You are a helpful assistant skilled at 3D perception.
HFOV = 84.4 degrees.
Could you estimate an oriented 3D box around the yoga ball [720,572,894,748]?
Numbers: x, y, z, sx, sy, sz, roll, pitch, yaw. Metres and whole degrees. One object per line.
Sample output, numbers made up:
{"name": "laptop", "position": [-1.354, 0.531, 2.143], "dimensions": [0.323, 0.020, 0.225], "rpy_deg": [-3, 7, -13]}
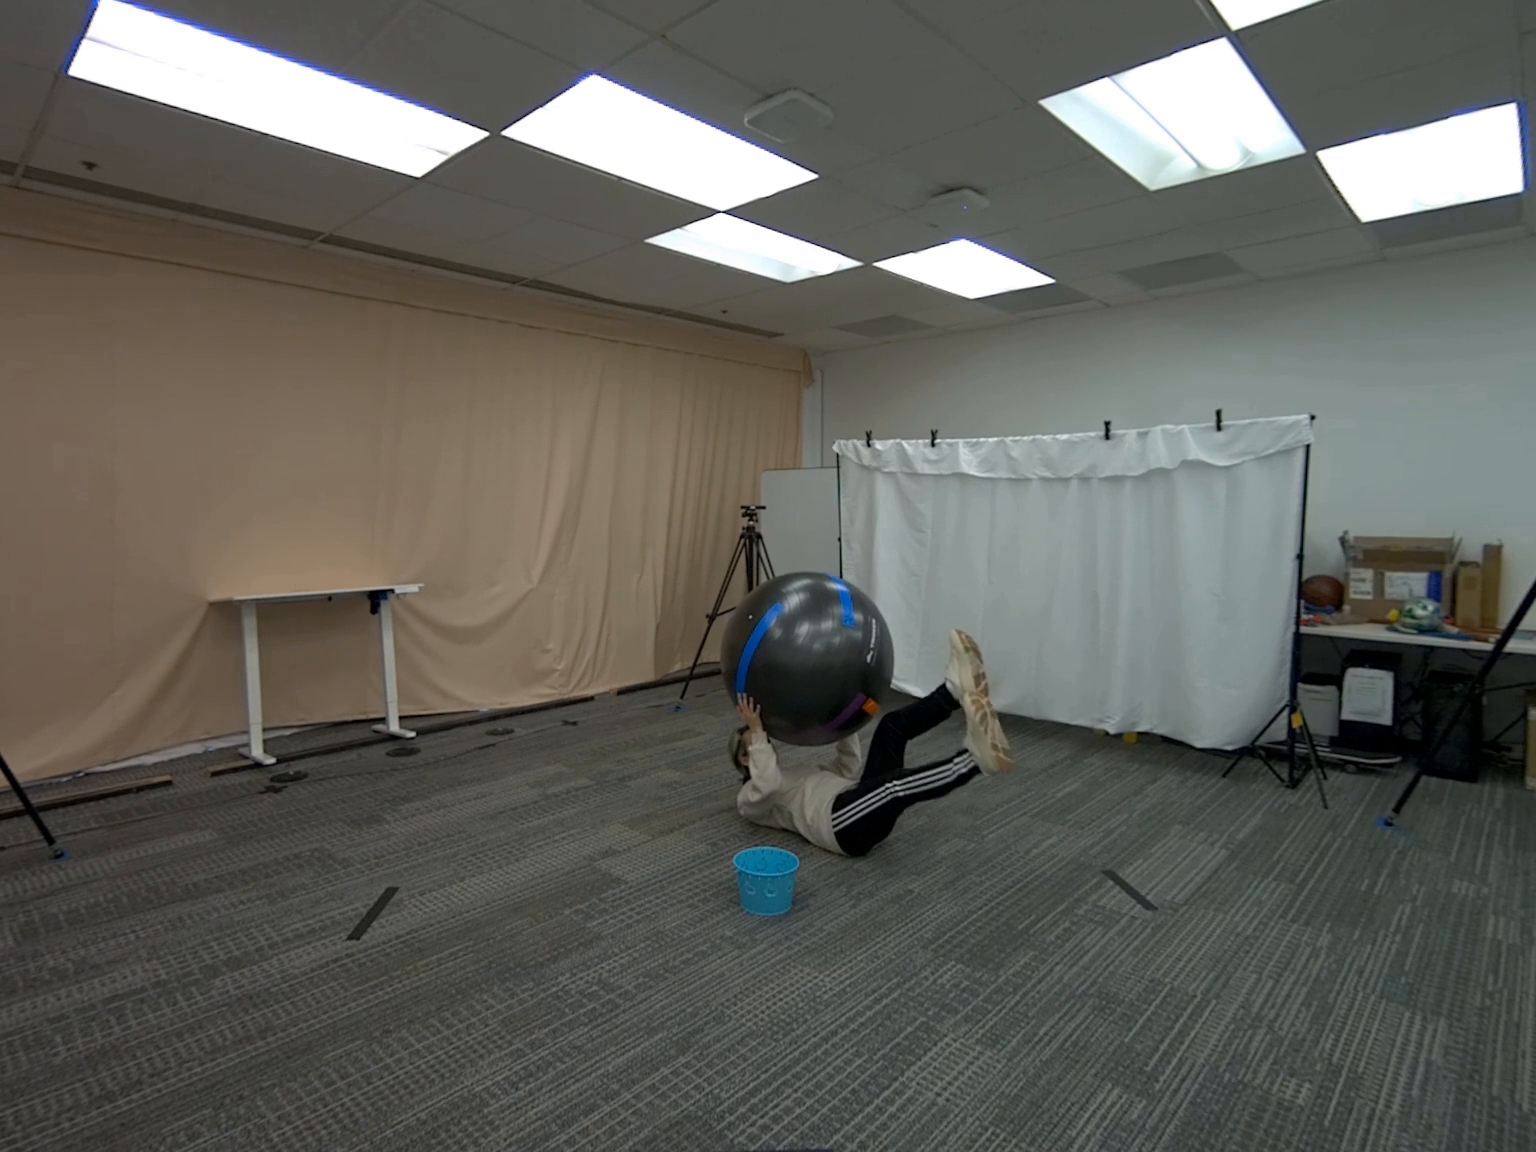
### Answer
{"name": "yoga ball", "position": [0.171, 0.359, 3.694], "dimensions": [0.757, 0.756, 0.760], "rpy_deg": [0, 4, -2]}
